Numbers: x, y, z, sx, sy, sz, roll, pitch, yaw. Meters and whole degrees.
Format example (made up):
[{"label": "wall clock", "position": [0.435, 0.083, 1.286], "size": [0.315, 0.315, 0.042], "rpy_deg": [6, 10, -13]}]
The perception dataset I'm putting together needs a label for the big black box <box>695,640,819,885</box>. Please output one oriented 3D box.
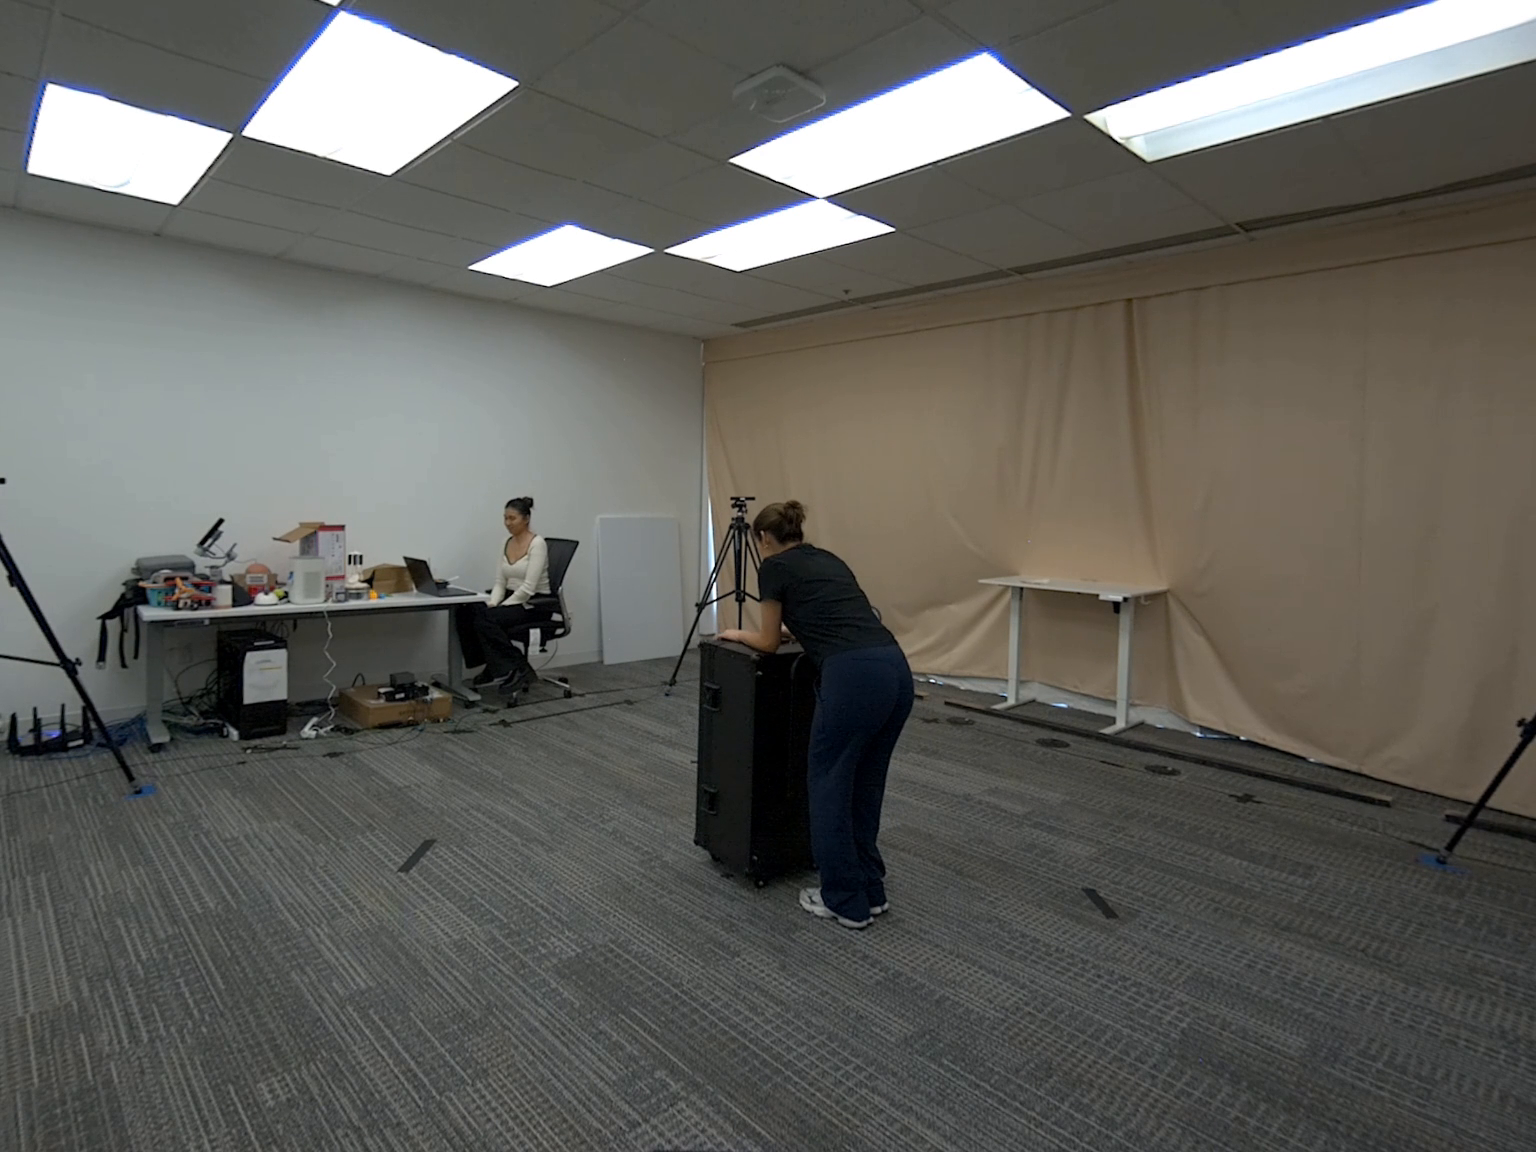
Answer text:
[{"label": "big black box", "position": [0.028, 0.624, 3.167], "size": [0.509, 0.860, 0.406], "rpy_deg": [0, 3, -37]}]
